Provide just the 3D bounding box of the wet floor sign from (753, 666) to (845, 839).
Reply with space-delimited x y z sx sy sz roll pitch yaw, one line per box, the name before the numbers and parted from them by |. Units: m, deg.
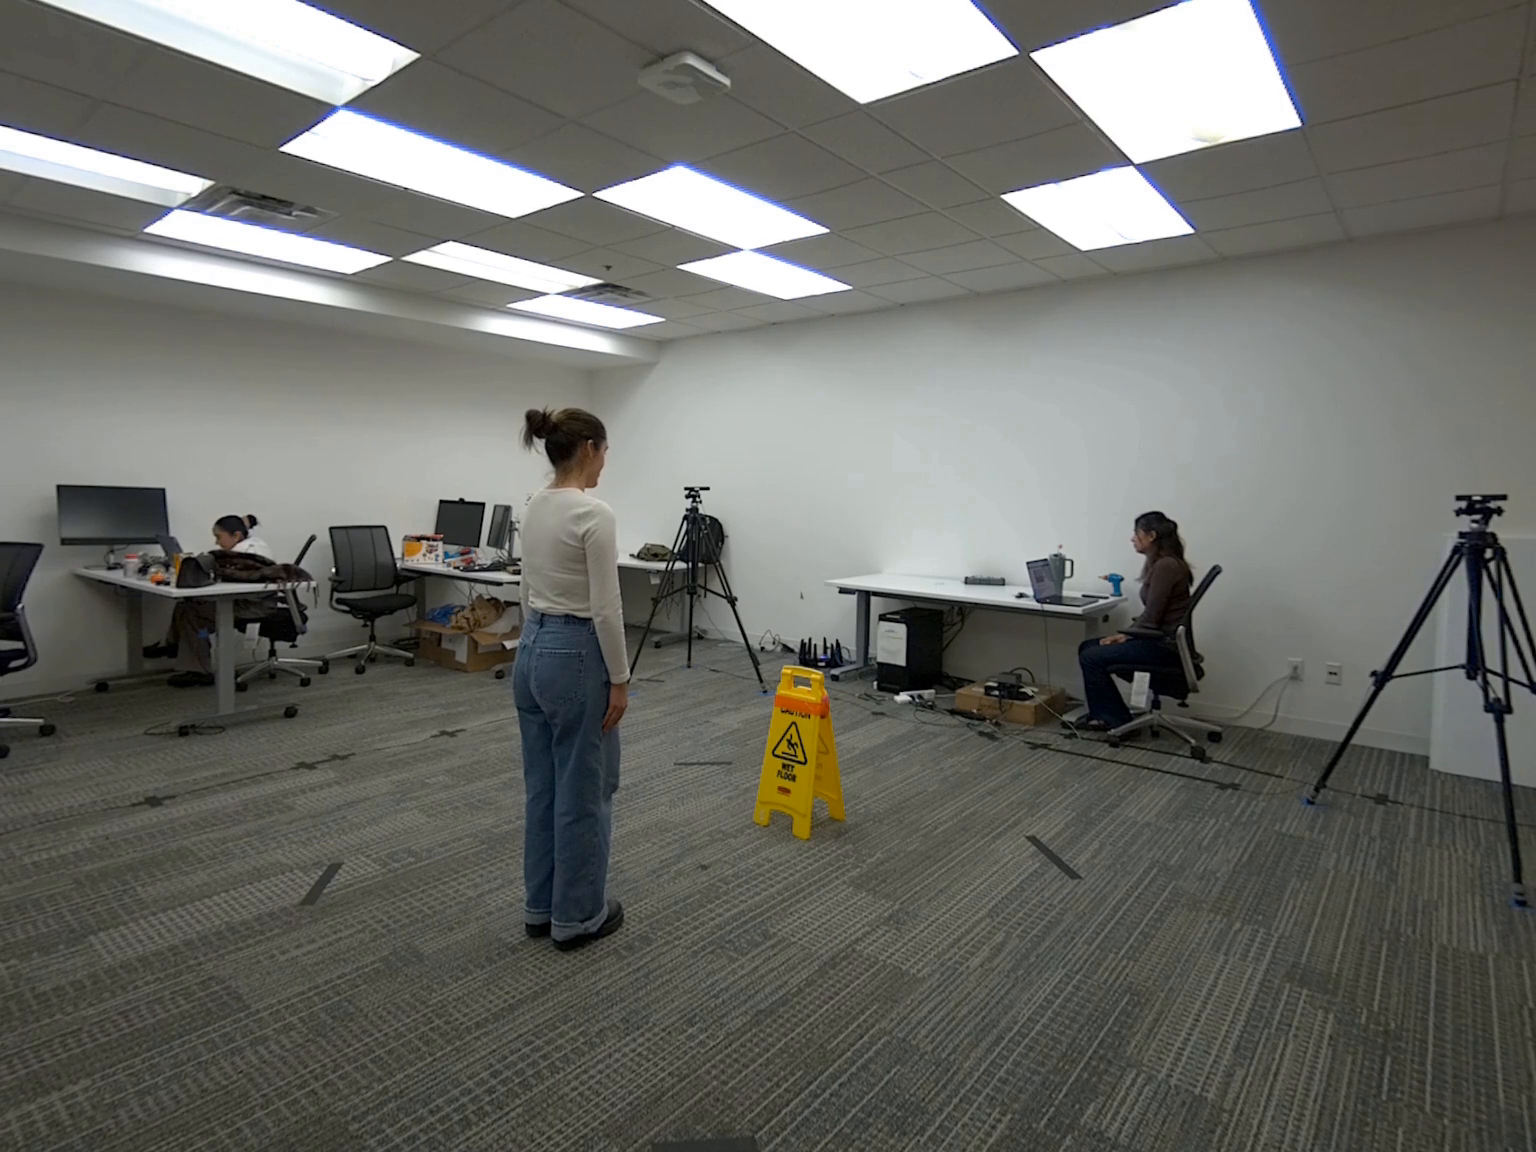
wet floor sign | 0.133 0.702 3.557 0.292 0.644 0.281 4 4 38
